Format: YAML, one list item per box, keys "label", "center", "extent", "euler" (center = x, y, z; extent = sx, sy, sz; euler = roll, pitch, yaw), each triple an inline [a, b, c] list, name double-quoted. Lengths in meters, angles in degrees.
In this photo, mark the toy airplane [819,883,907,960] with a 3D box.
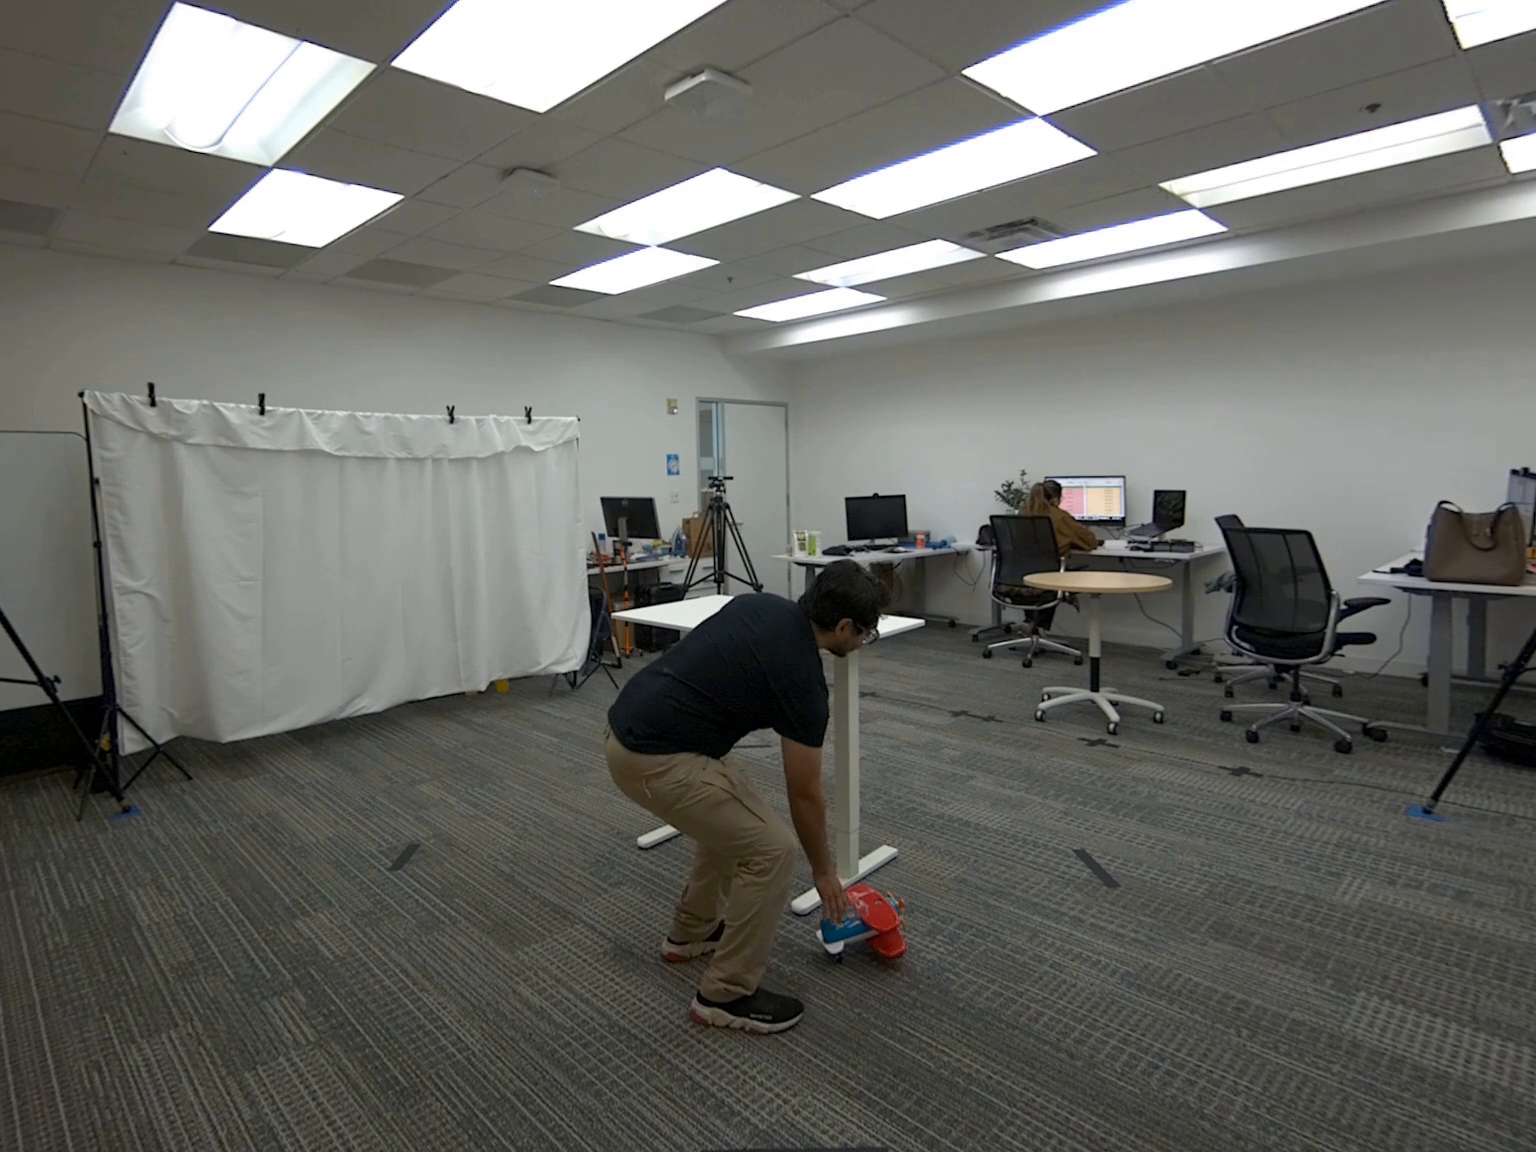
- label: "toy airplane"
  center: [0.278, 1.028, 2.472]
  extent: [0.252, 0.156, 0.259]
  euler: [-5, 8, -44]
